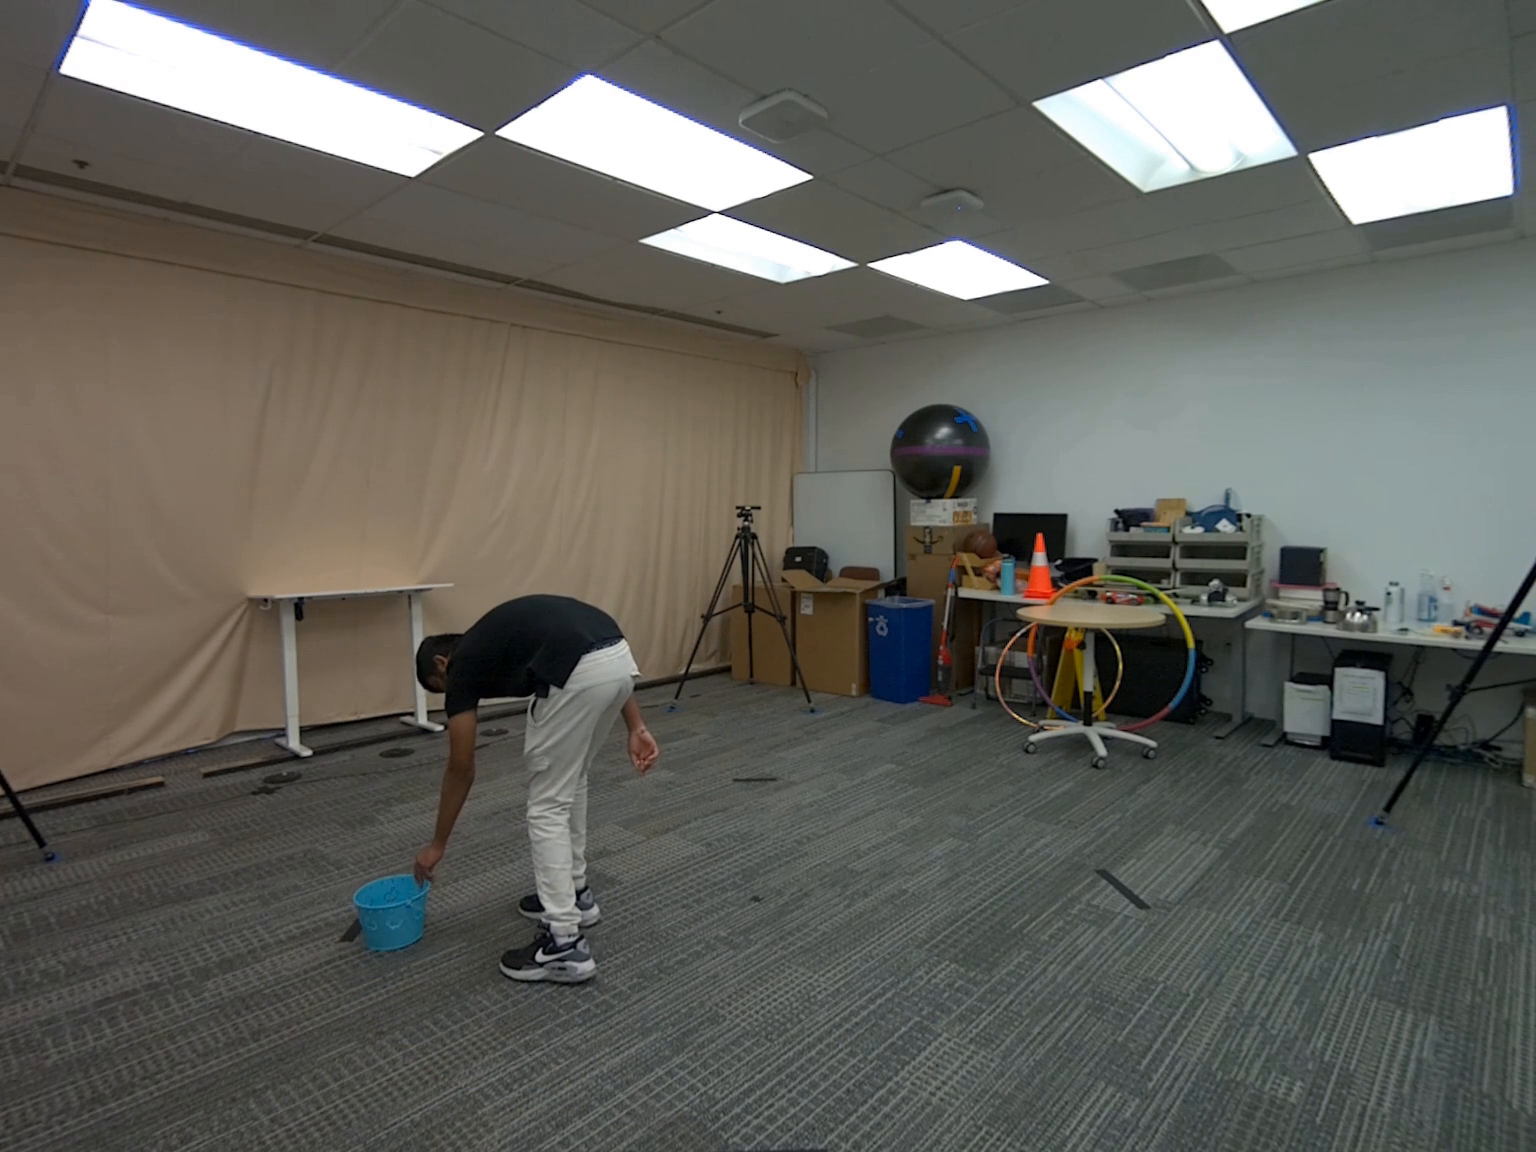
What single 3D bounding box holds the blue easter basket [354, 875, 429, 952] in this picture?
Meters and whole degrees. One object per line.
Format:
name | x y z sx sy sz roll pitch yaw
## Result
blue easter basket | -1.211 1.096 2.729 0.243 0.155 0.244 -1 5 -2
